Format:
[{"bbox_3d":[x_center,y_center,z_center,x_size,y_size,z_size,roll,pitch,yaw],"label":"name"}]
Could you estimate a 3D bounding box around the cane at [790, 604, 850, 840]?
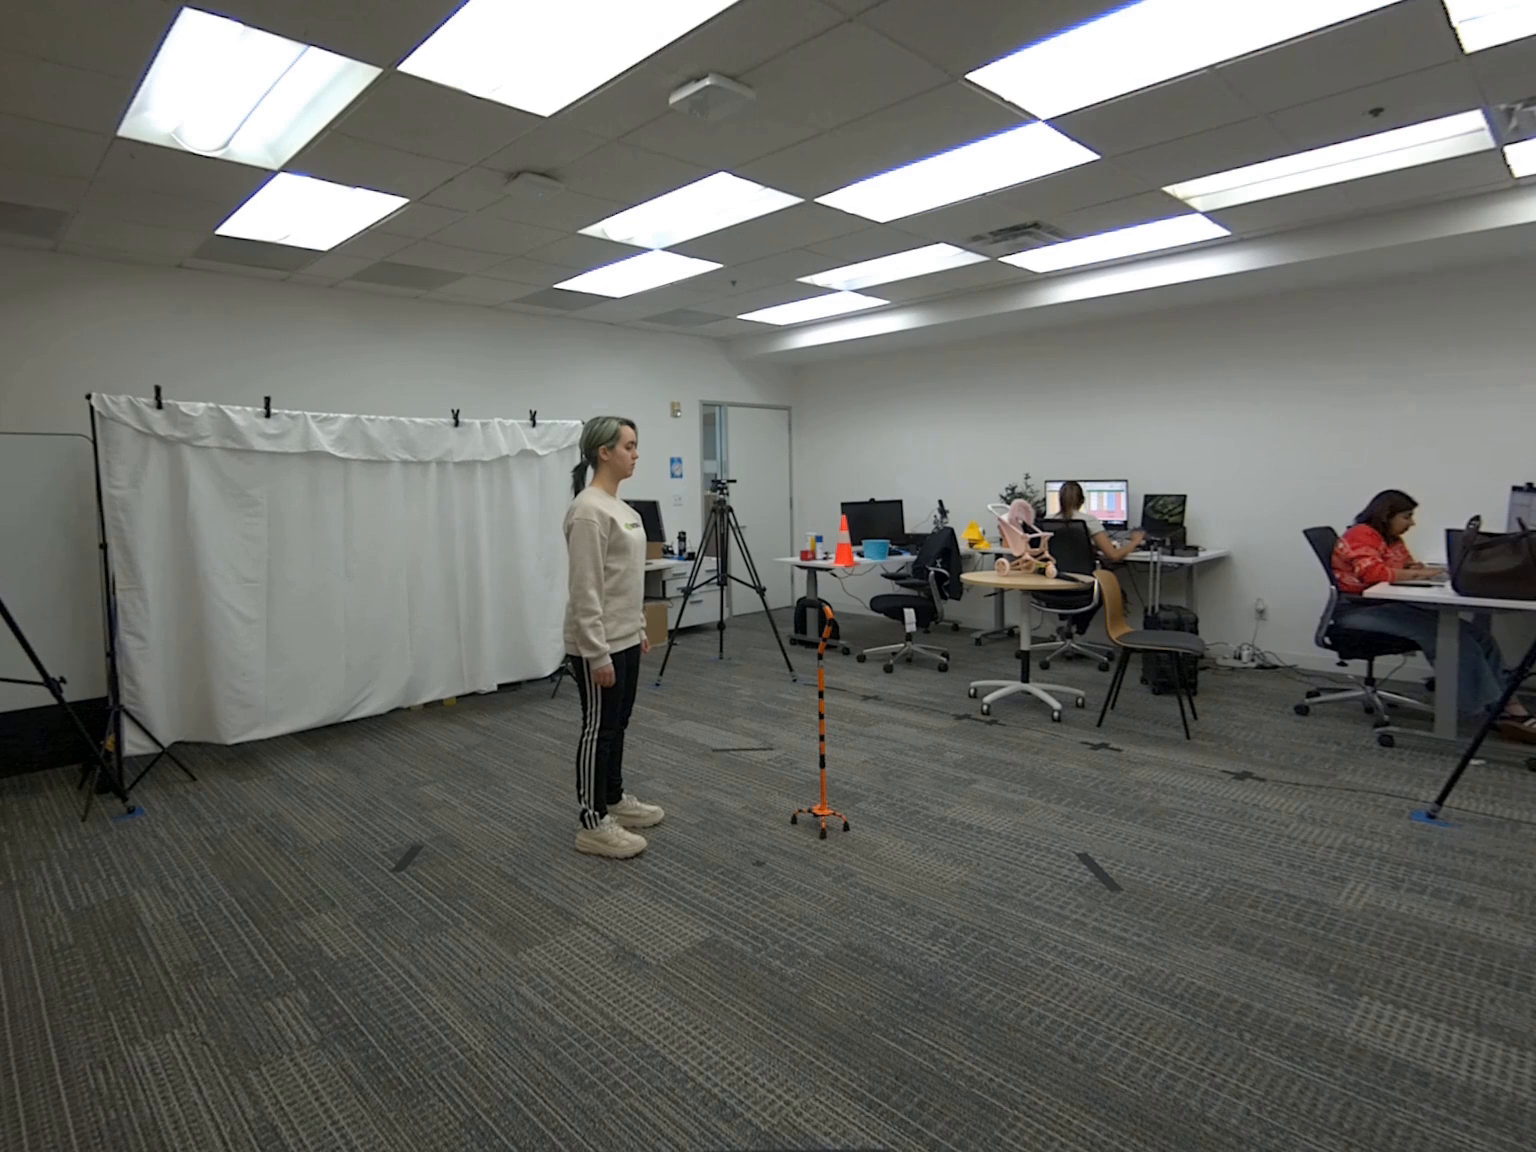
[{"bbox_3d":[0.200,0.552,3.400,0.148,0.904,0.212,-4,5,-37],"label":"cane"}]
